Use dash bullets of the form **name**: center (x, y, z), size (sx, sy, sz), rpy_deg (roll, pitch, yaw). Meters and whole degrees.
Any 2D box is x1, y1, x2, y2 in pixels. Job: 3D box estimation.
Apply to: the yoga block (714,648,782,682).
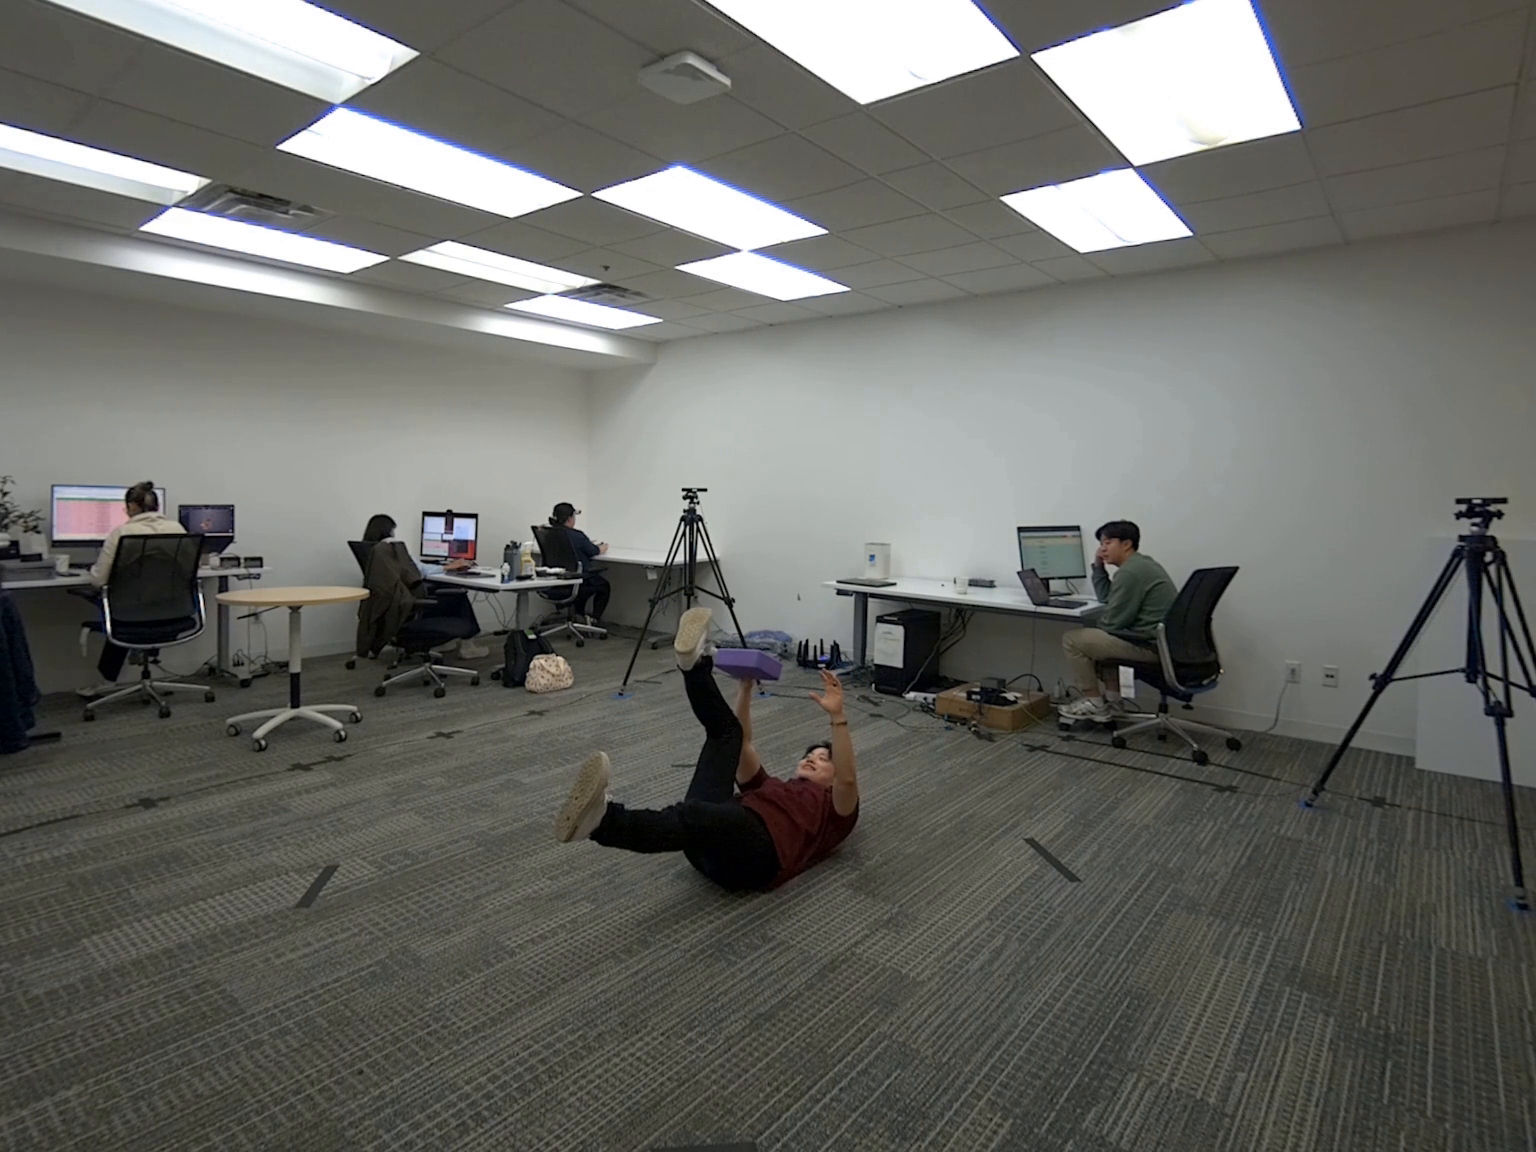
- **yoga block**: center (-0.089, 0.338, 3.264), size (0.236, 0.077, 0.143), rpy_deg (-3, -28, 44)
